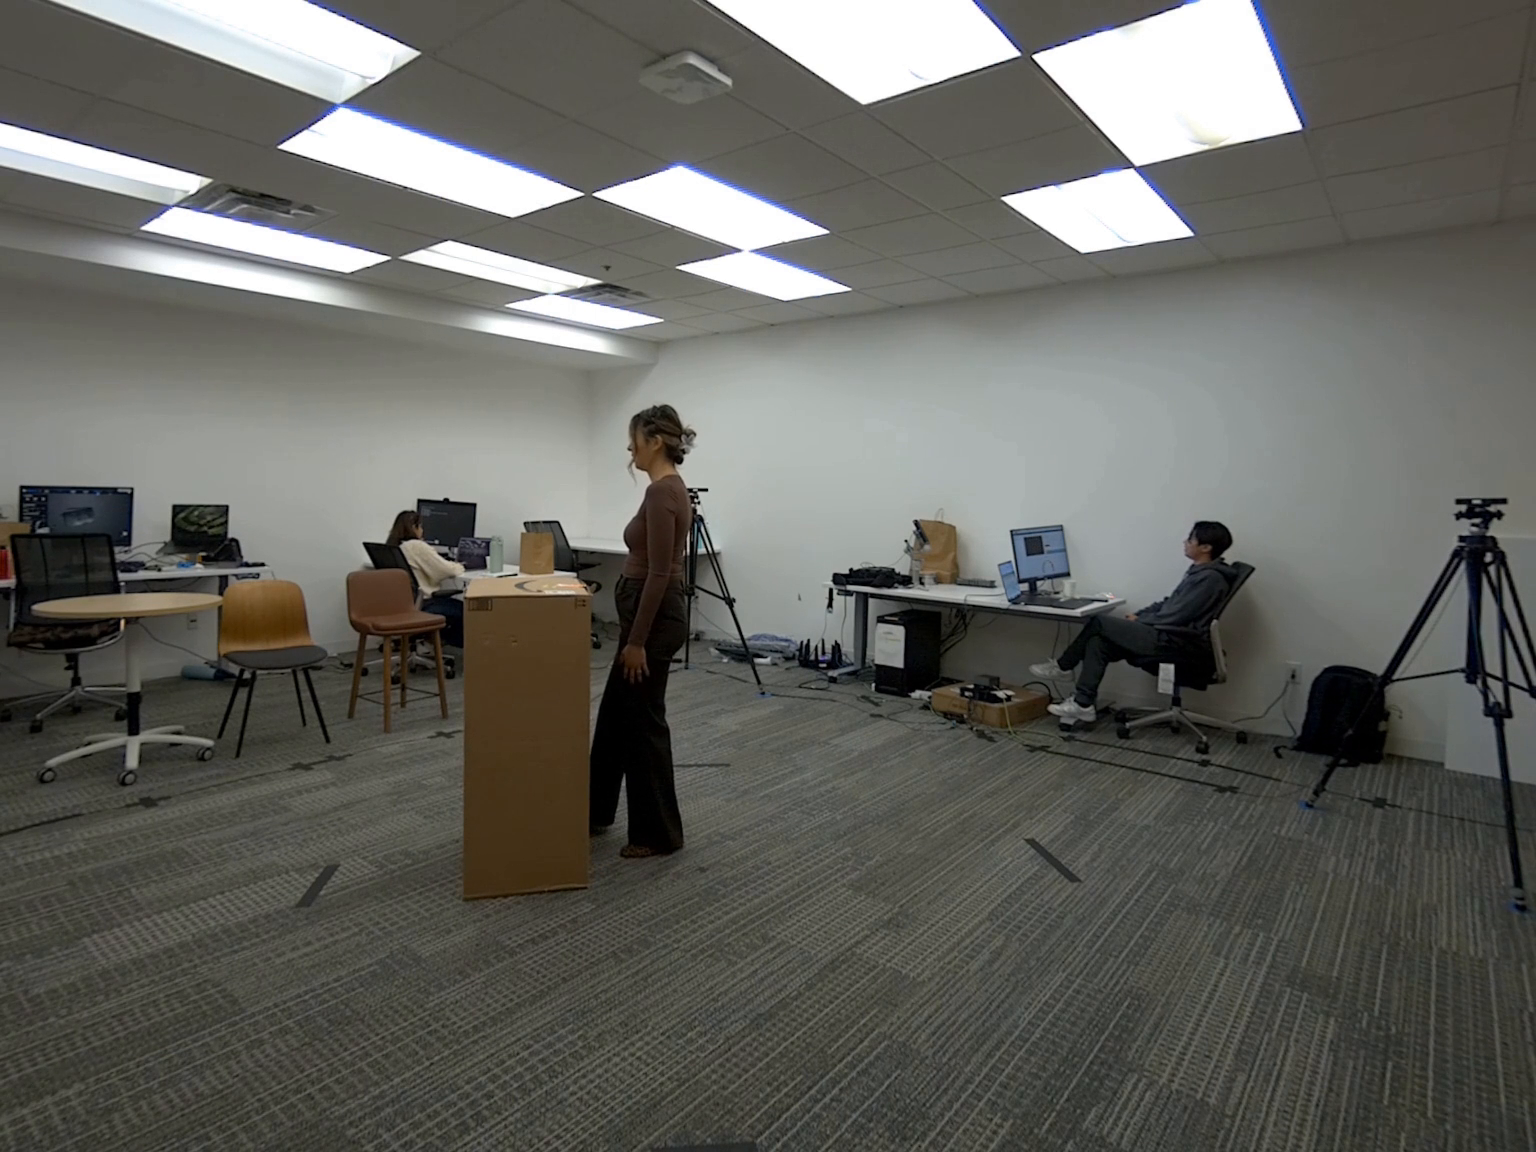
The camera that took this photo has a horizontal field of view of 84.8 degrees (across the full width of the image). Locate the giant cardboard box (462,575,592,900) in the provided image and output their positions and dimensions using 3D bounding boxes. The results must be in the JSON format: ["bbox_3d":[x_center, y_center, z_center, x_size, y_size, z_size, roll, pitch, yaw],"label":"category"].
[{"bbox_3d":[-0.911,0.540,3.147,0.440,1.024,0.595,0,3,-15],"label":"giant cardboard box"}]
